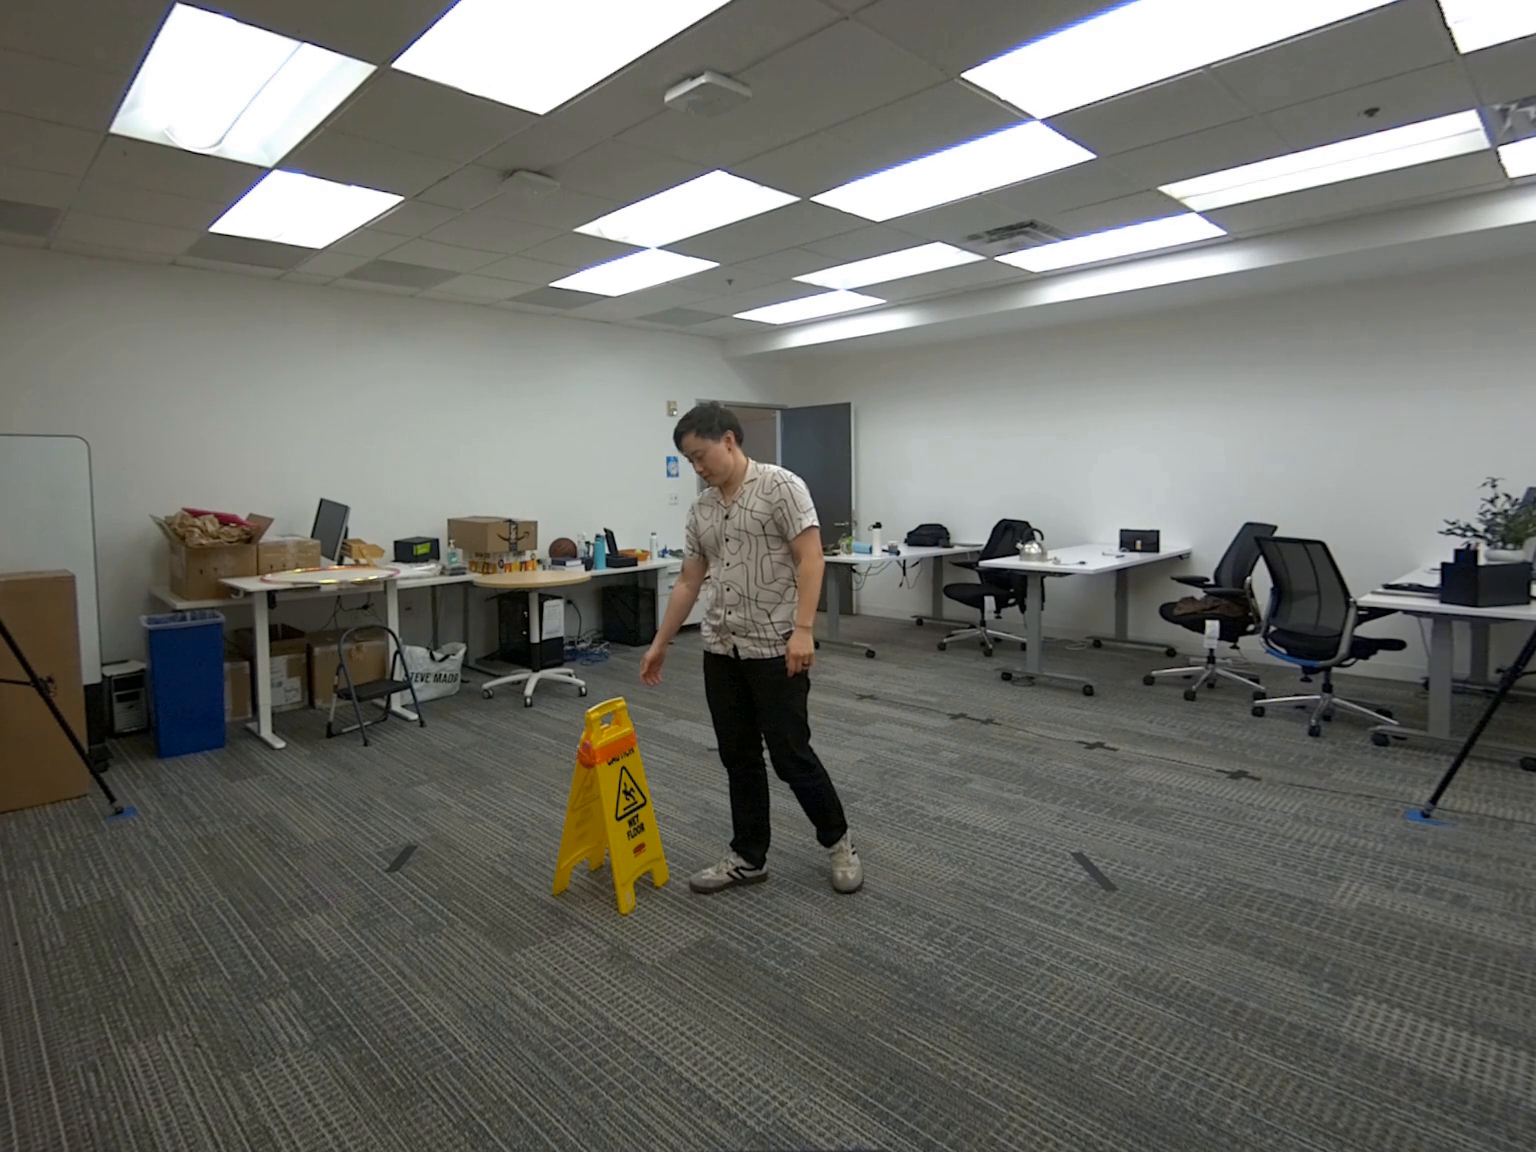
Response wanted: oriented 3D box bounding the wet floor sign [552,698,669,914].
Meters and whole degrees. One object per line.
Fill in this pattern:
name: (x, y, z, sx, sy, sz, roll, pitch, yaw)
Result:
wet floor sign: (-0.538, 0.751, 2.914, 0.297, 0.643, 0.276, 2, 6, 28)
